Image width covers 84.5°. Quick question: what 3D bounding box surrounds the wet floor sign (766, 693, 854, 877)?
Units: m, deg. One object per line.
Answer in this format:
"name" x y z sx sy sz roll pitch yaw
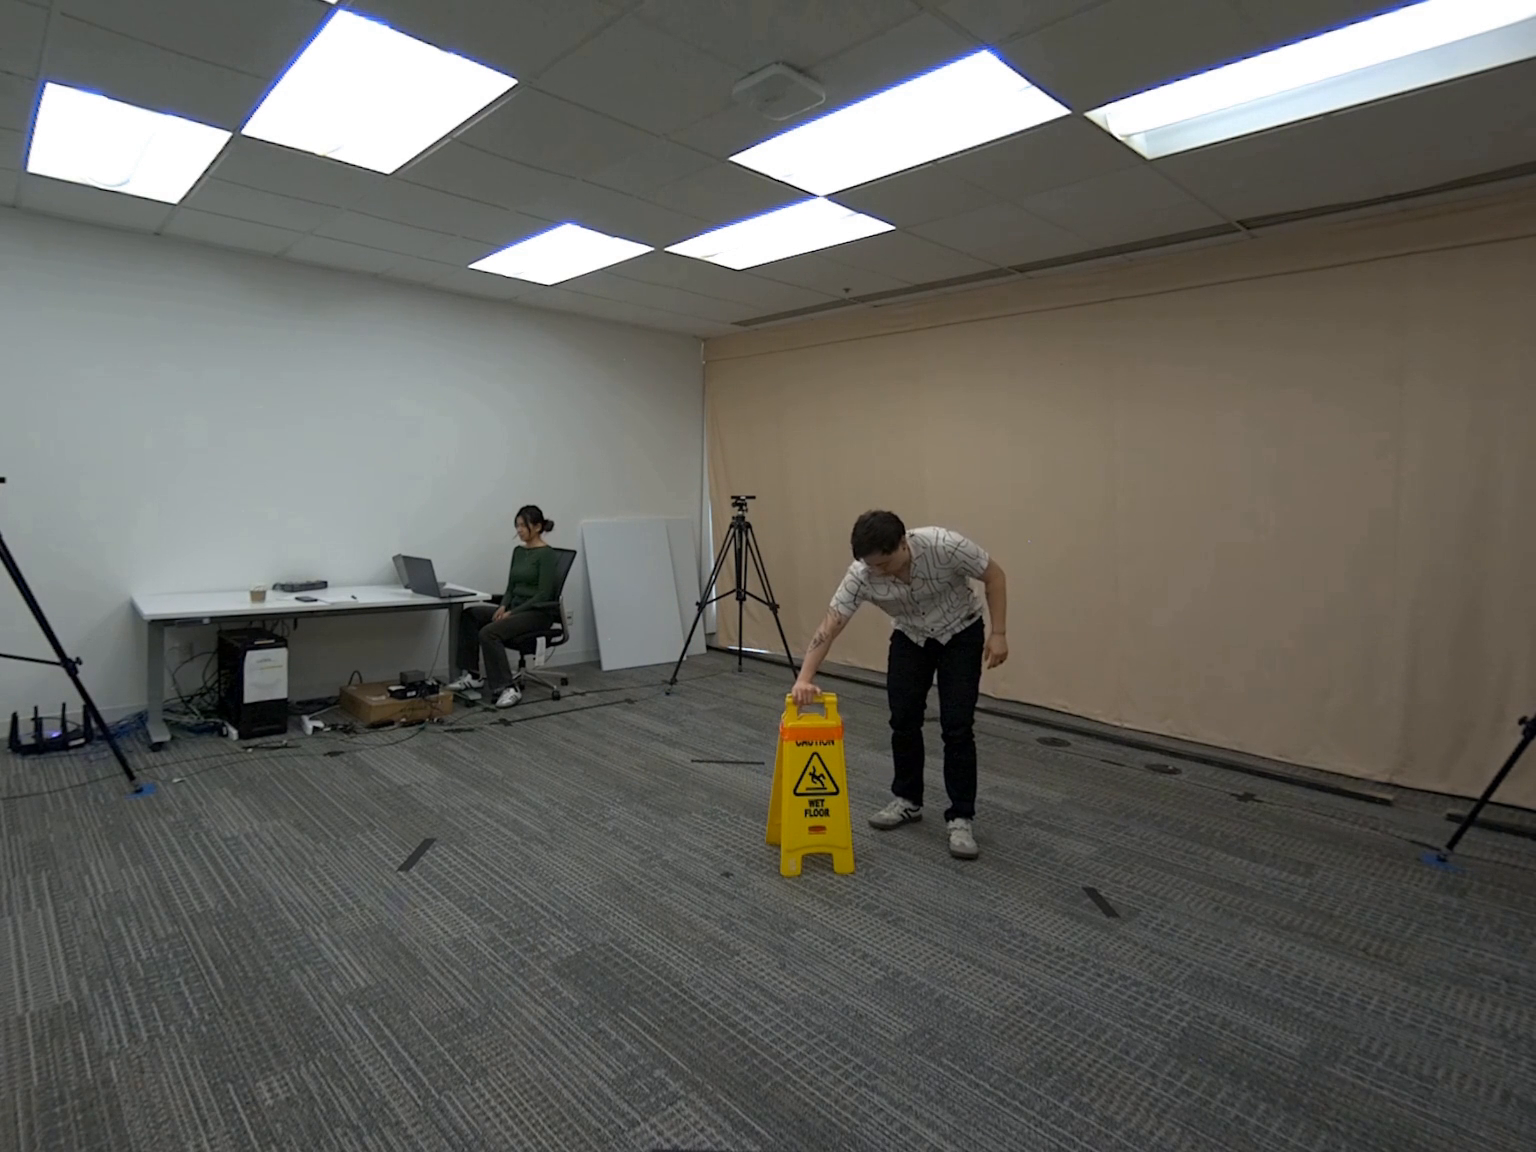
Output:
"wet floor sign" 0.156 0.767 3.251 0.280 0.645 0.292 2 2 -10
